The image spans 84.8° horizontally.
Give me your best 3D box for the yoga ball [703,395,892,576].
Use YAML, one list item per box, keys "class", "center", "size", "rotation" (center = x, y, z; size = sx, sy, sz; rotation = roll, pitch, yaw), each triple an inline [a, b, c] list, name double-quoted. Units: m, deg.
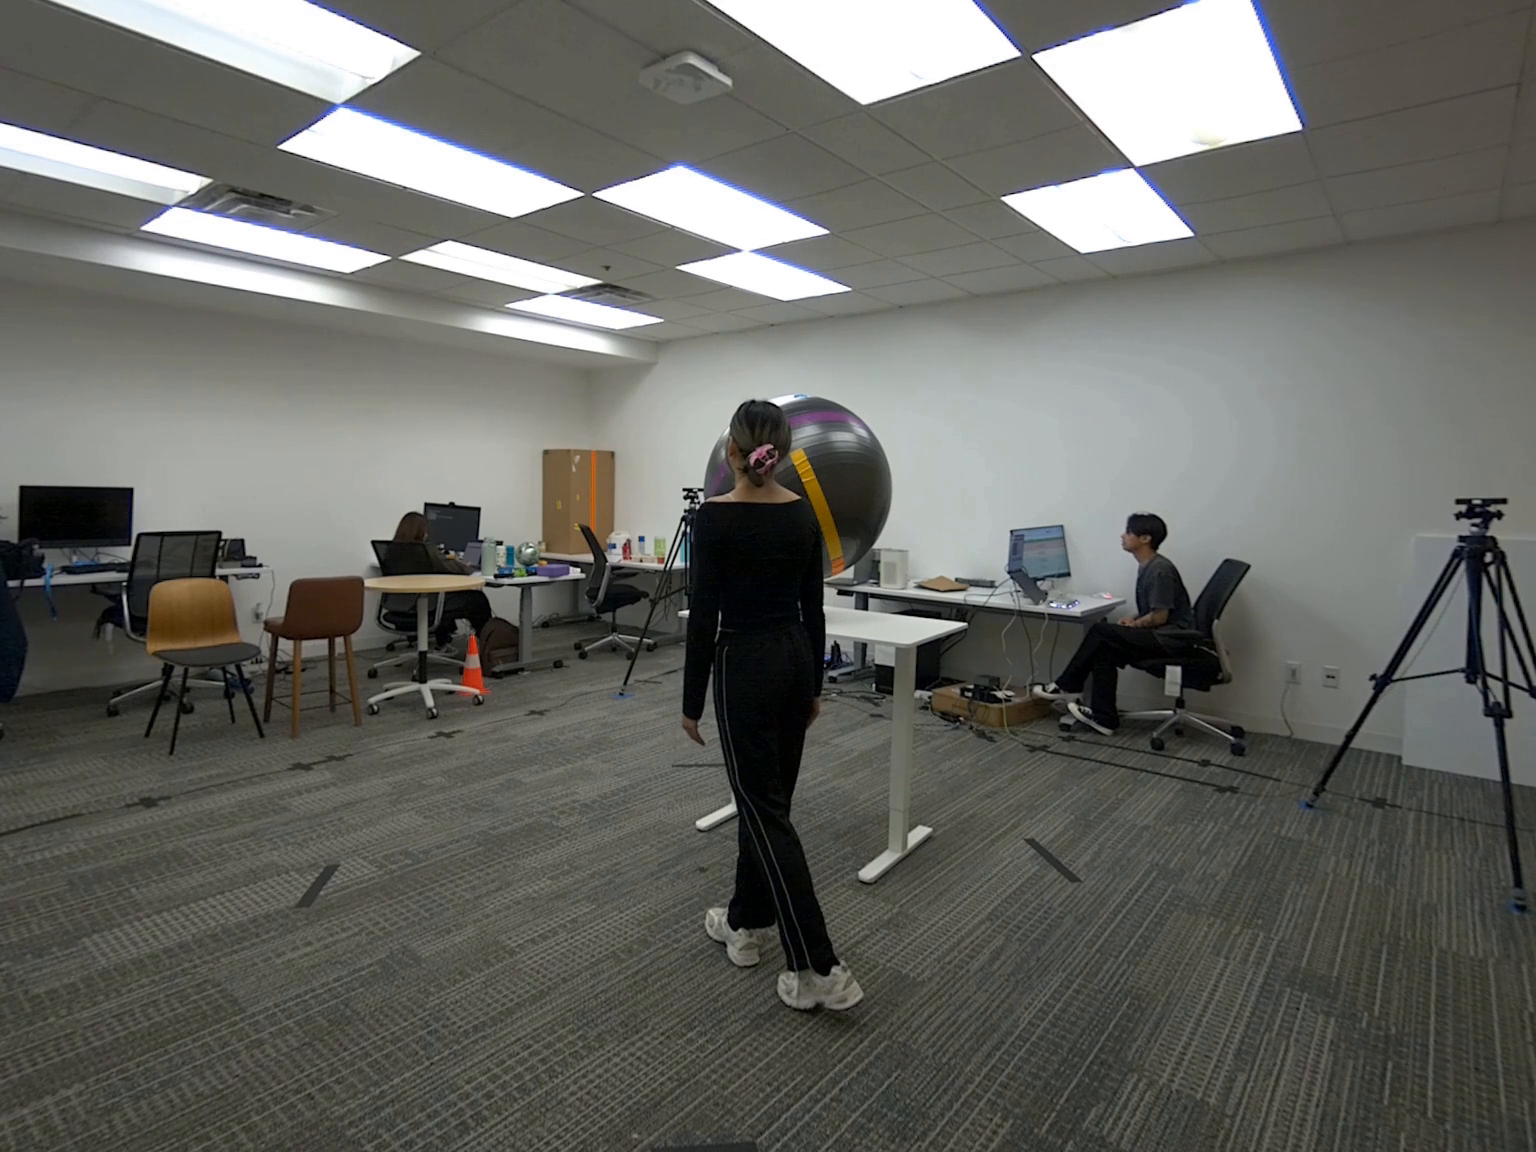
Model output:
- class: "yoga ball"
  center: [0.106, -0.347, 3.452]
  size: [0.757, 0.756, 0.761]
  rotation: [1, 4, -2]
